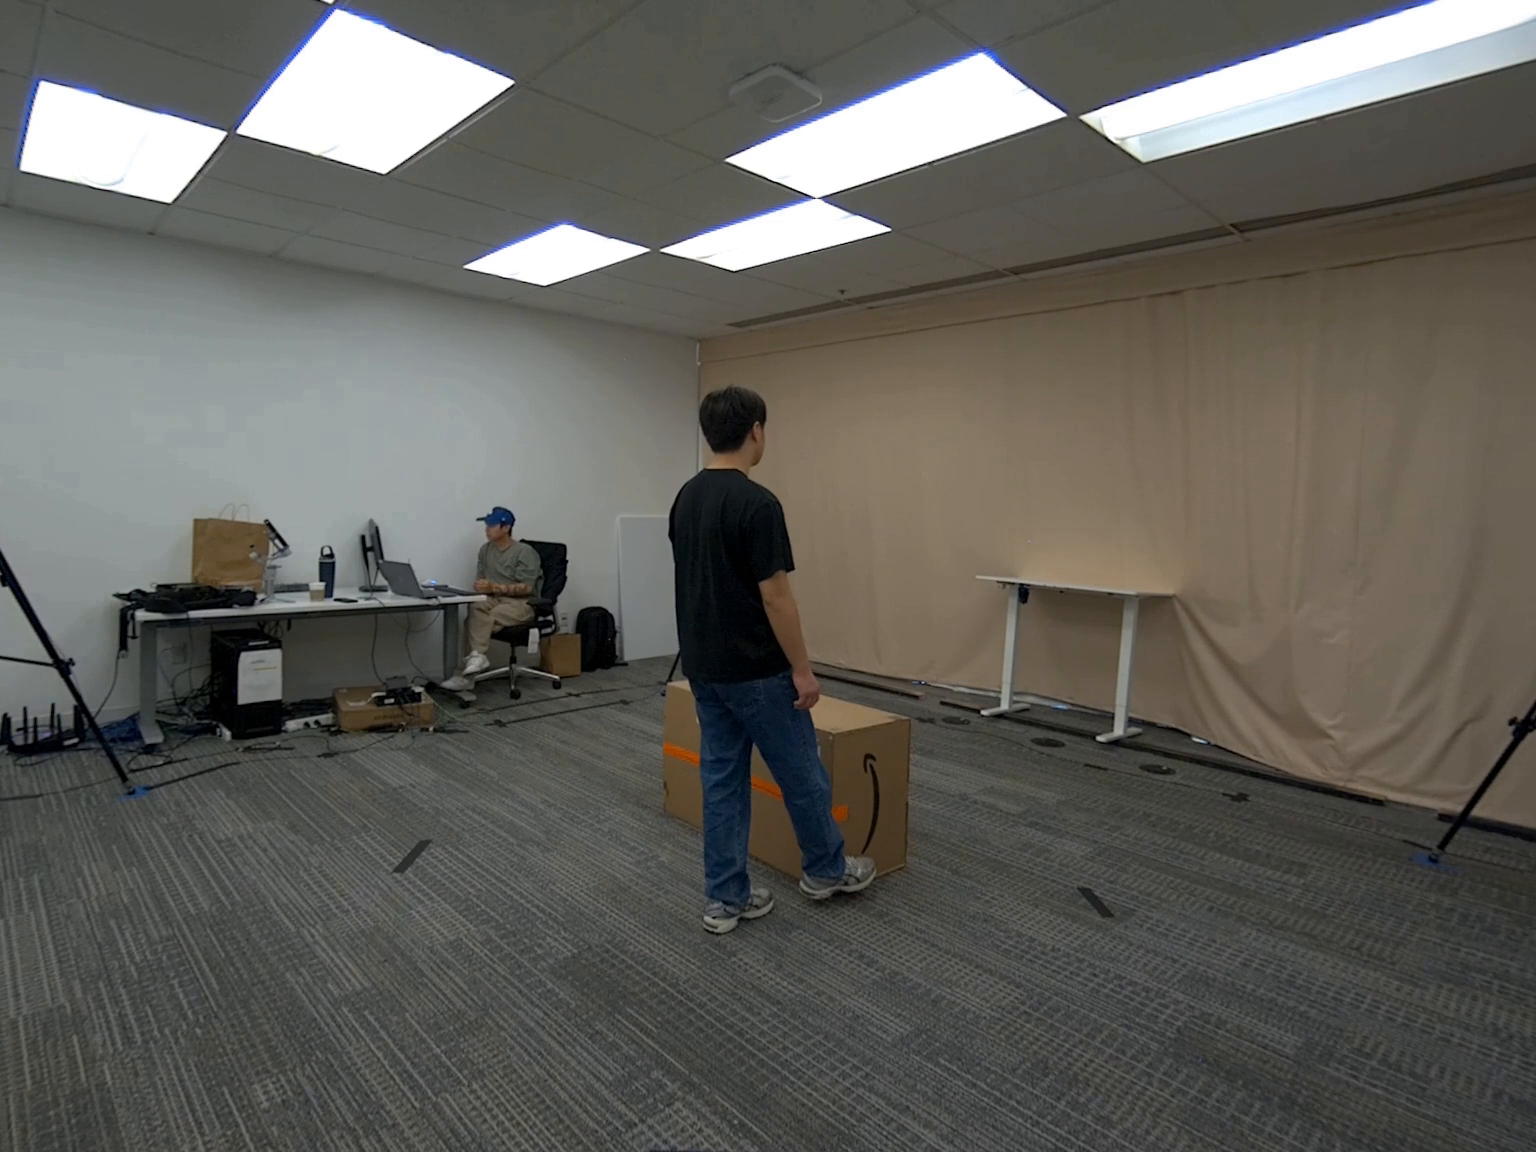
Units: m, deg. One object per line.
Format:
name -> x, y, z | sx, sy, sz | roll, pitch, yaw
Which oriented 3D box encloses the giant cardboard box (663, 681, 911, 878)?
giant cardboard box -> 0.035, 0.794, 3.469 | 0.437, 0.582, 1.053 | -2, 6, -41
